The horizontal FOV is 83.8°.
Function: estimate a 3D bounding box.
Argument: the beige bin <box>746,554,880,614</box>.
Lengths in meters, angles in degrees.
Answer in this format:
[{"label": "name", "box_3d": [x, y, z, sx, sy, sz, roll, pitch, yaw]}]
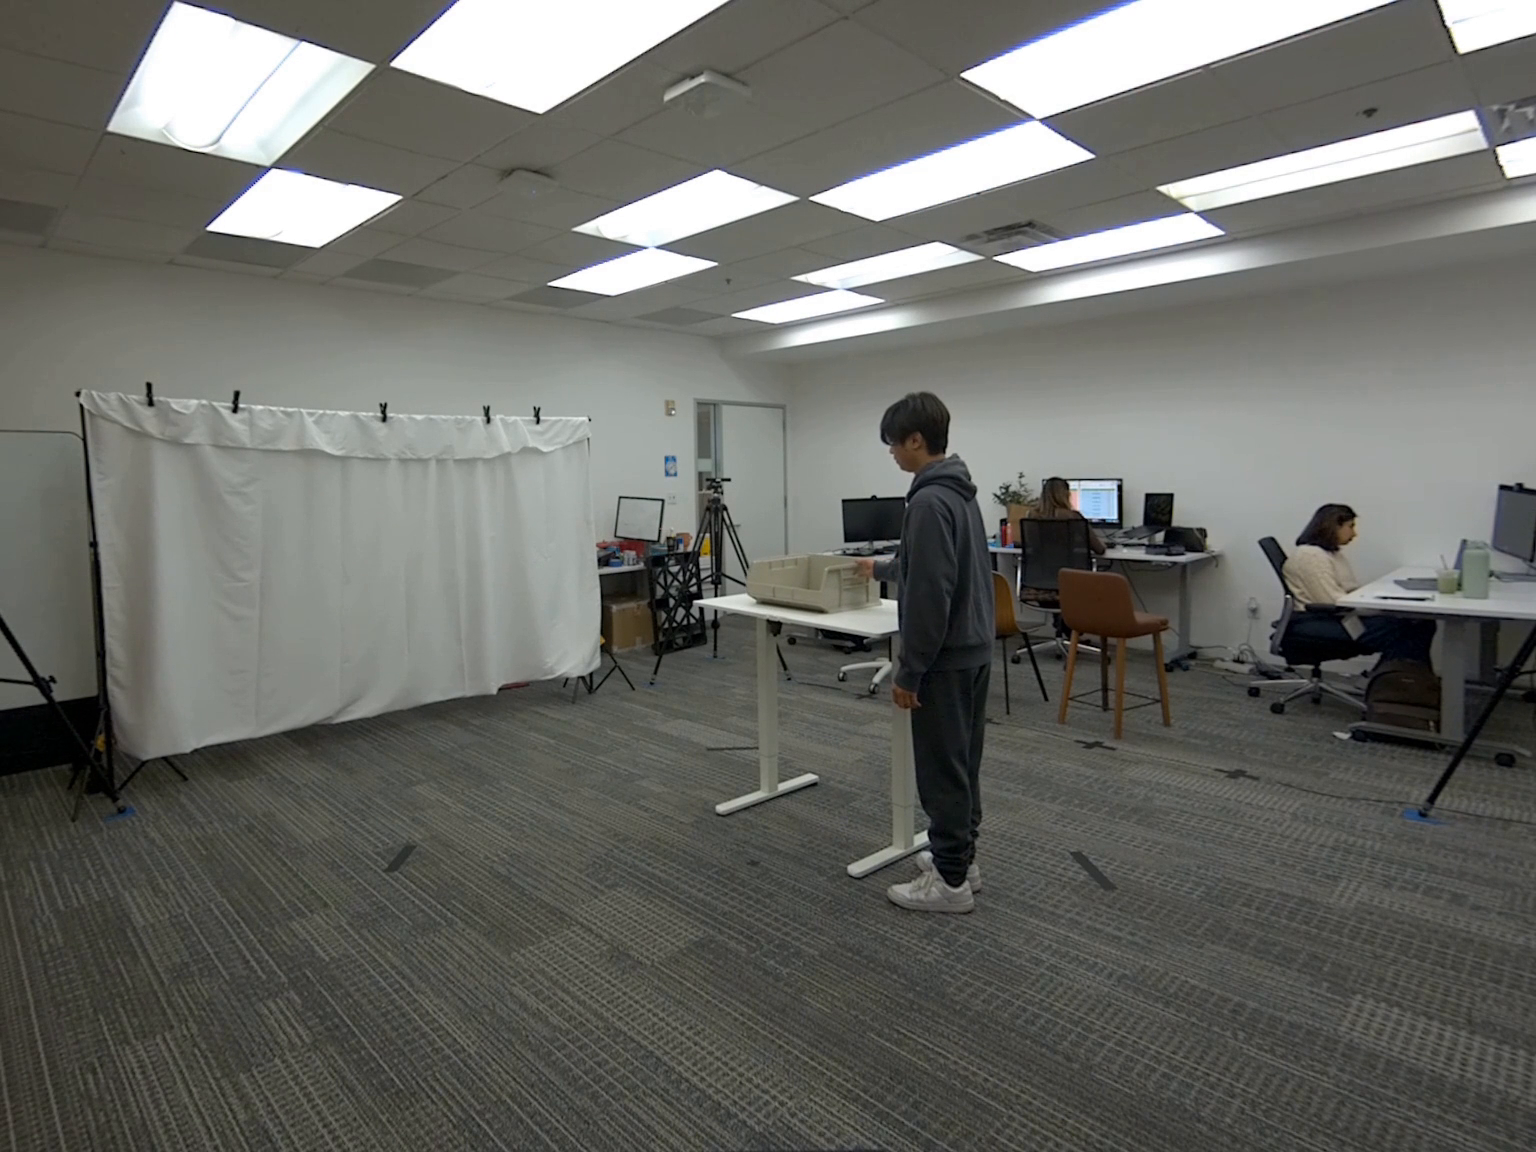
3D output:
[{"label": "beige bin", "box_3d": [0.190, 0.027, 3.446, 0.367, 0.188, 0.435, -6, 8, -42]}]
